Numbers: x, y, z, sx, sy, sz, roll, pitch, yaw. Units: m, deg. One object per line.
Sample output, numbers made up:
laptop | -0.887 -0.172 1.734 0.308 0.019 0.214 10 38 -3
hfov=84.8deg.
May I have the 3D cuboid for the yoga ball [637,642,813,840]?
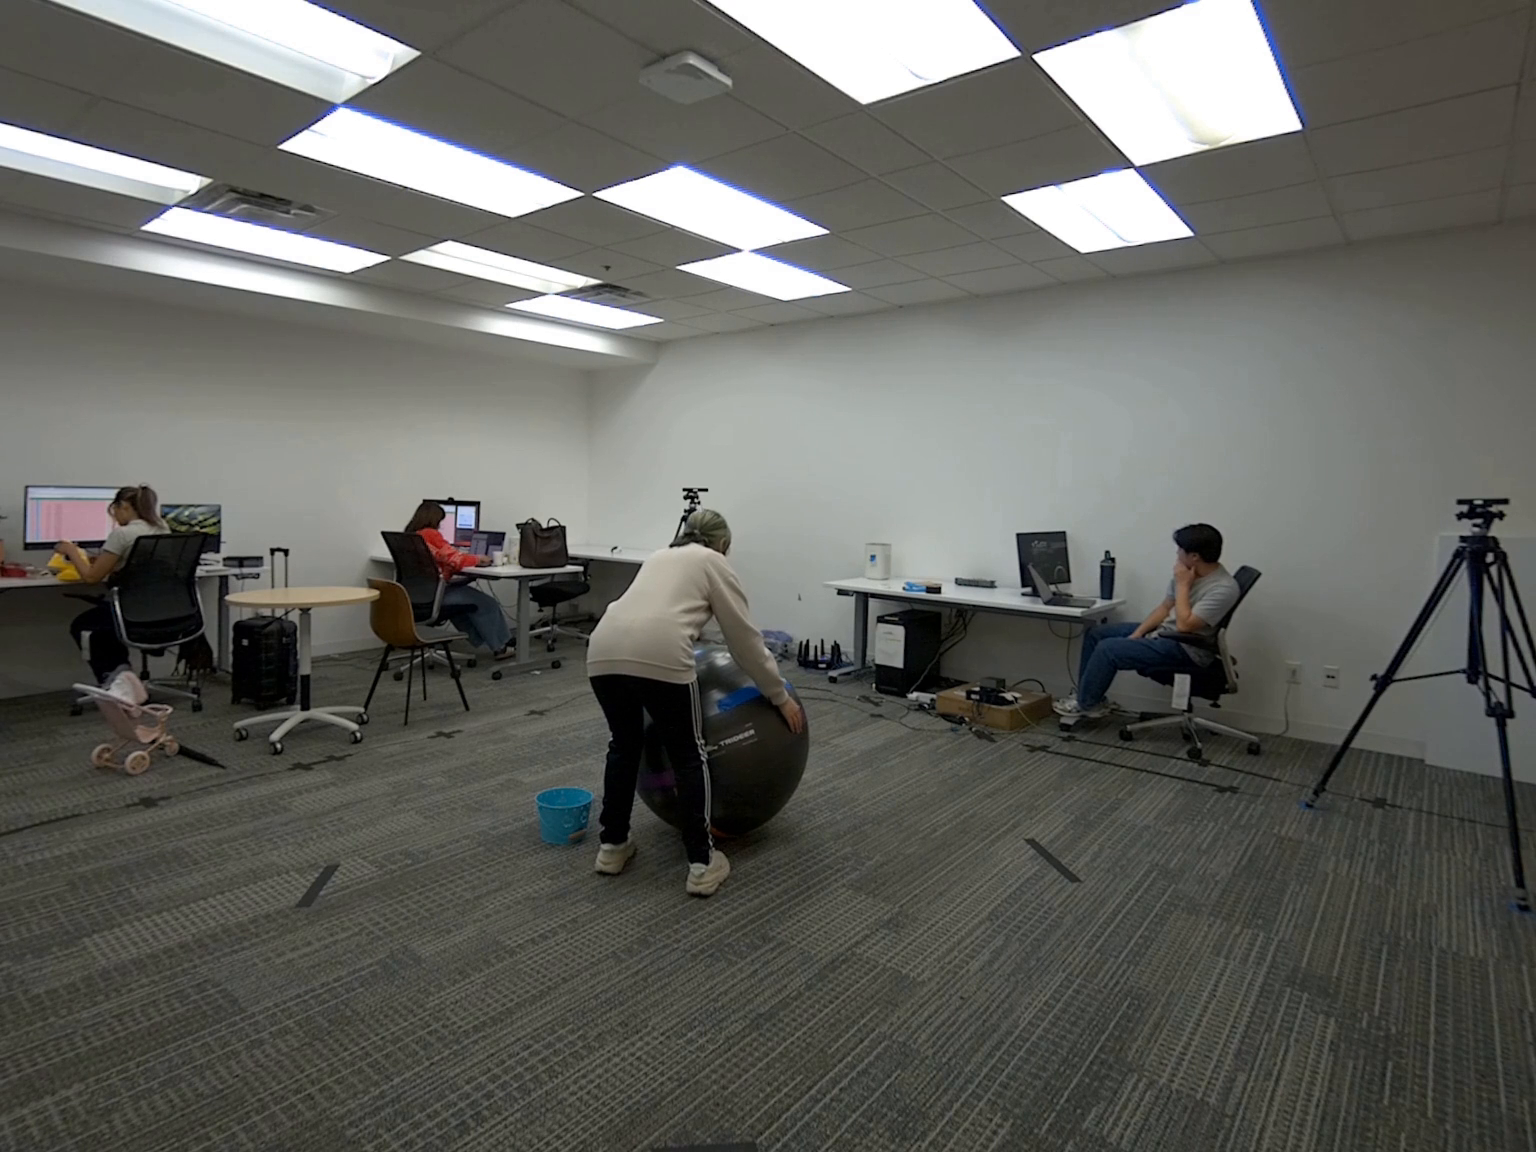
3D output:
yoga ball | -0.224 0.666 3.460 0.757 0.755 0.762 1 4 -2
